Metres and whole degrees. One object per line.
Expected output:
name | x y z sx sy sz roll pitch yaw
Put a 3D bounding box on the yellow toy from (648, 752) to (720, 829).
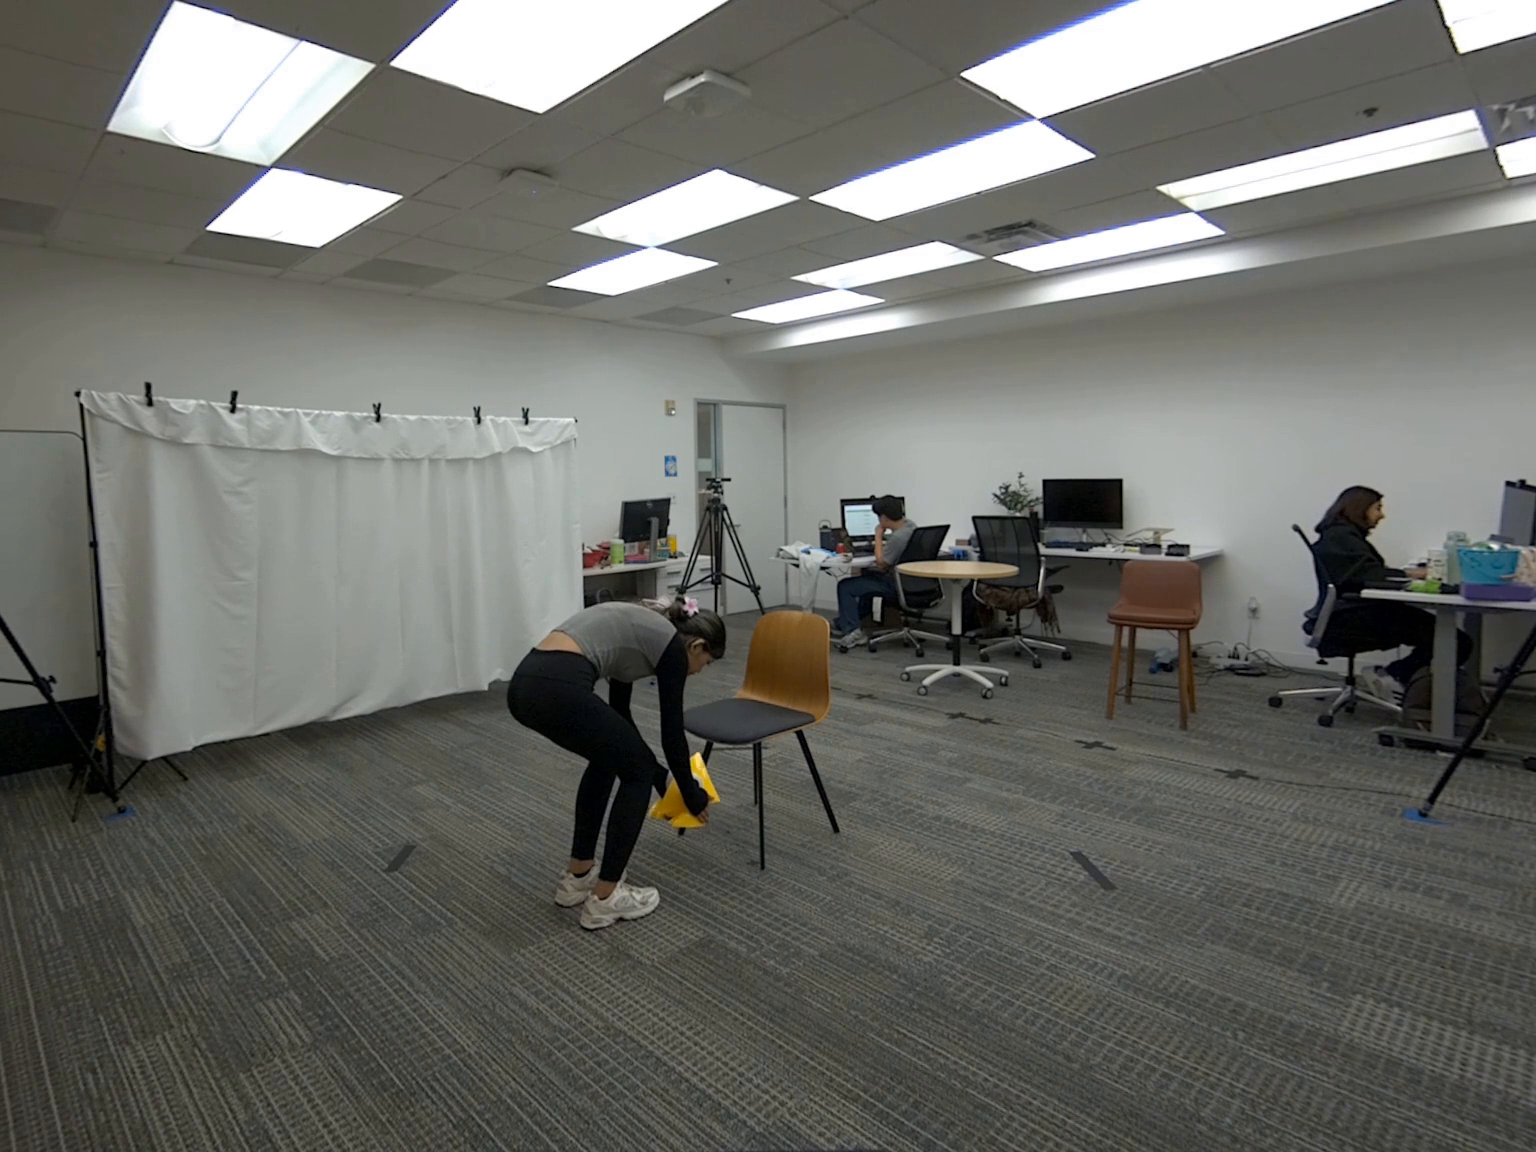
yellow toy | -0.293 0.734 3.024 0.187 0.231 0.211 9 -5 -44
